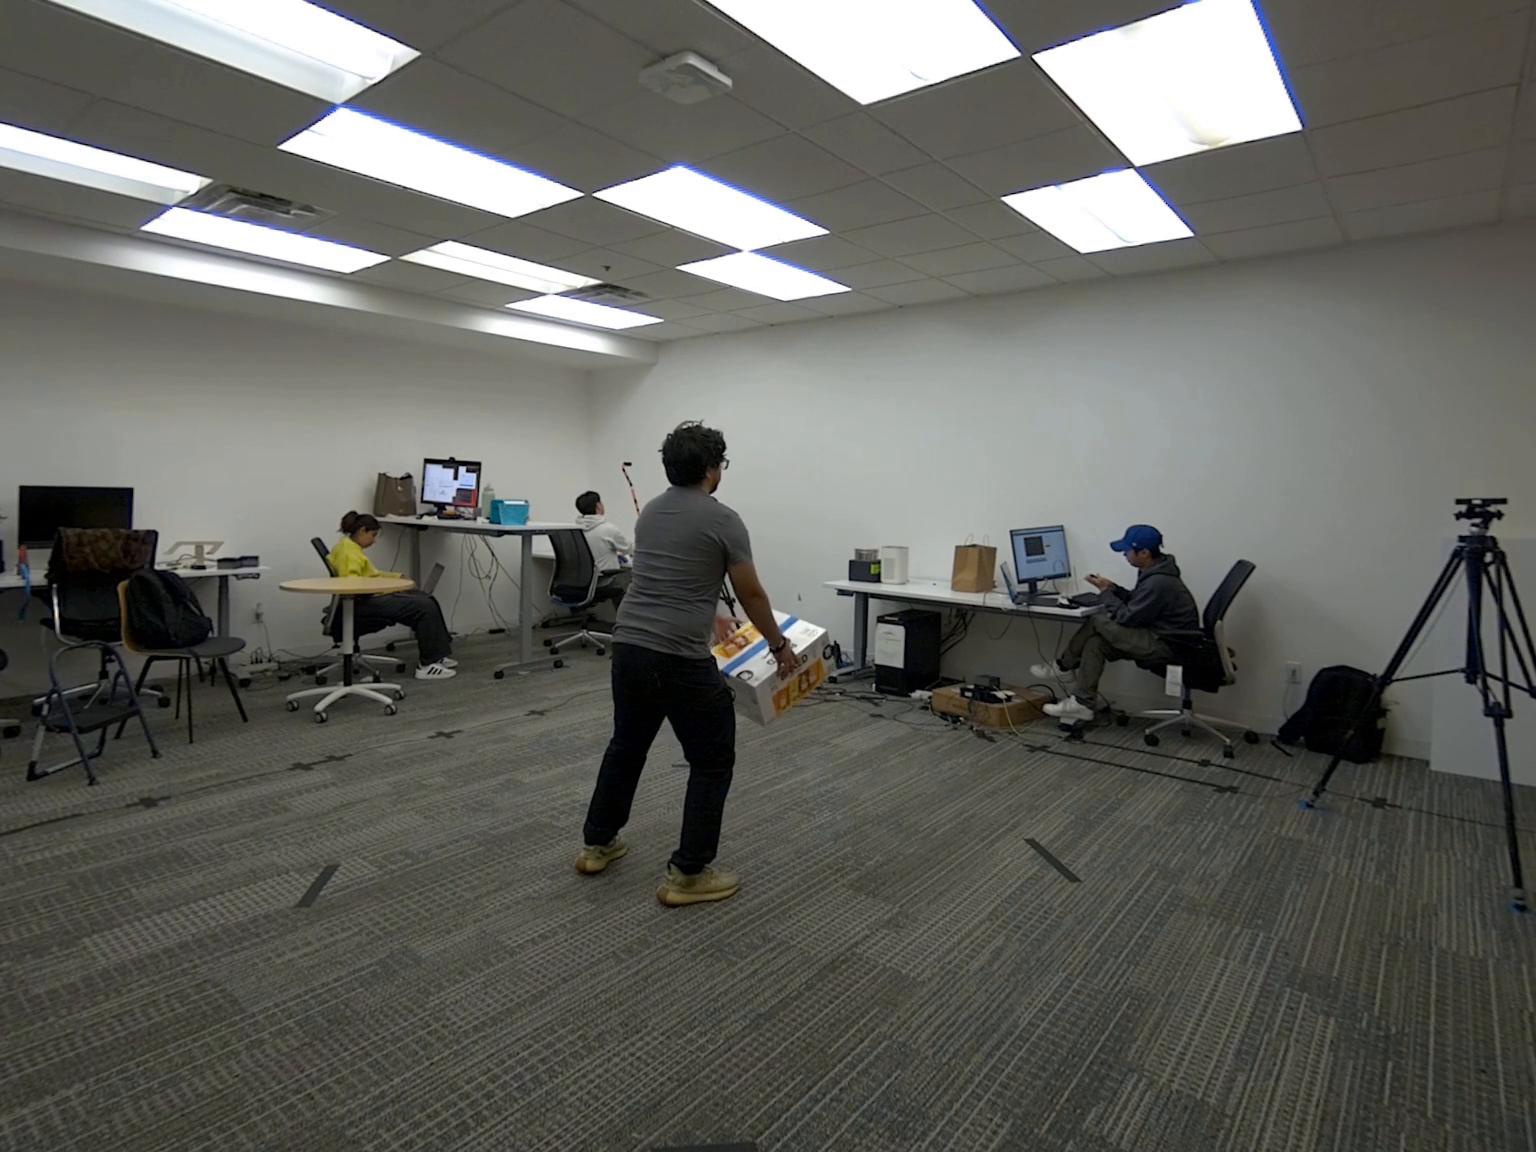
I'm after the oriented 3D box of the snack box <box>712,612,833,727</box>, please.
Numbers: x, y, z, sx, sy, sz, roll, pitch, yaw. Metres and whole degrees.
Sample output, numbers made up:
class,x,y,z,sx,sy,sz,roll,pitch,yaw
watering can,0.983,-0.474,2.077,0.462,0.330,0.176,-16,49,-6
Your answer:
class,x,y,z,sx,sy,sz,roll,pitch,yaw
snack box,-0.009,0.353,3.386,0.401,0.199,0.354,-35,34,-30
